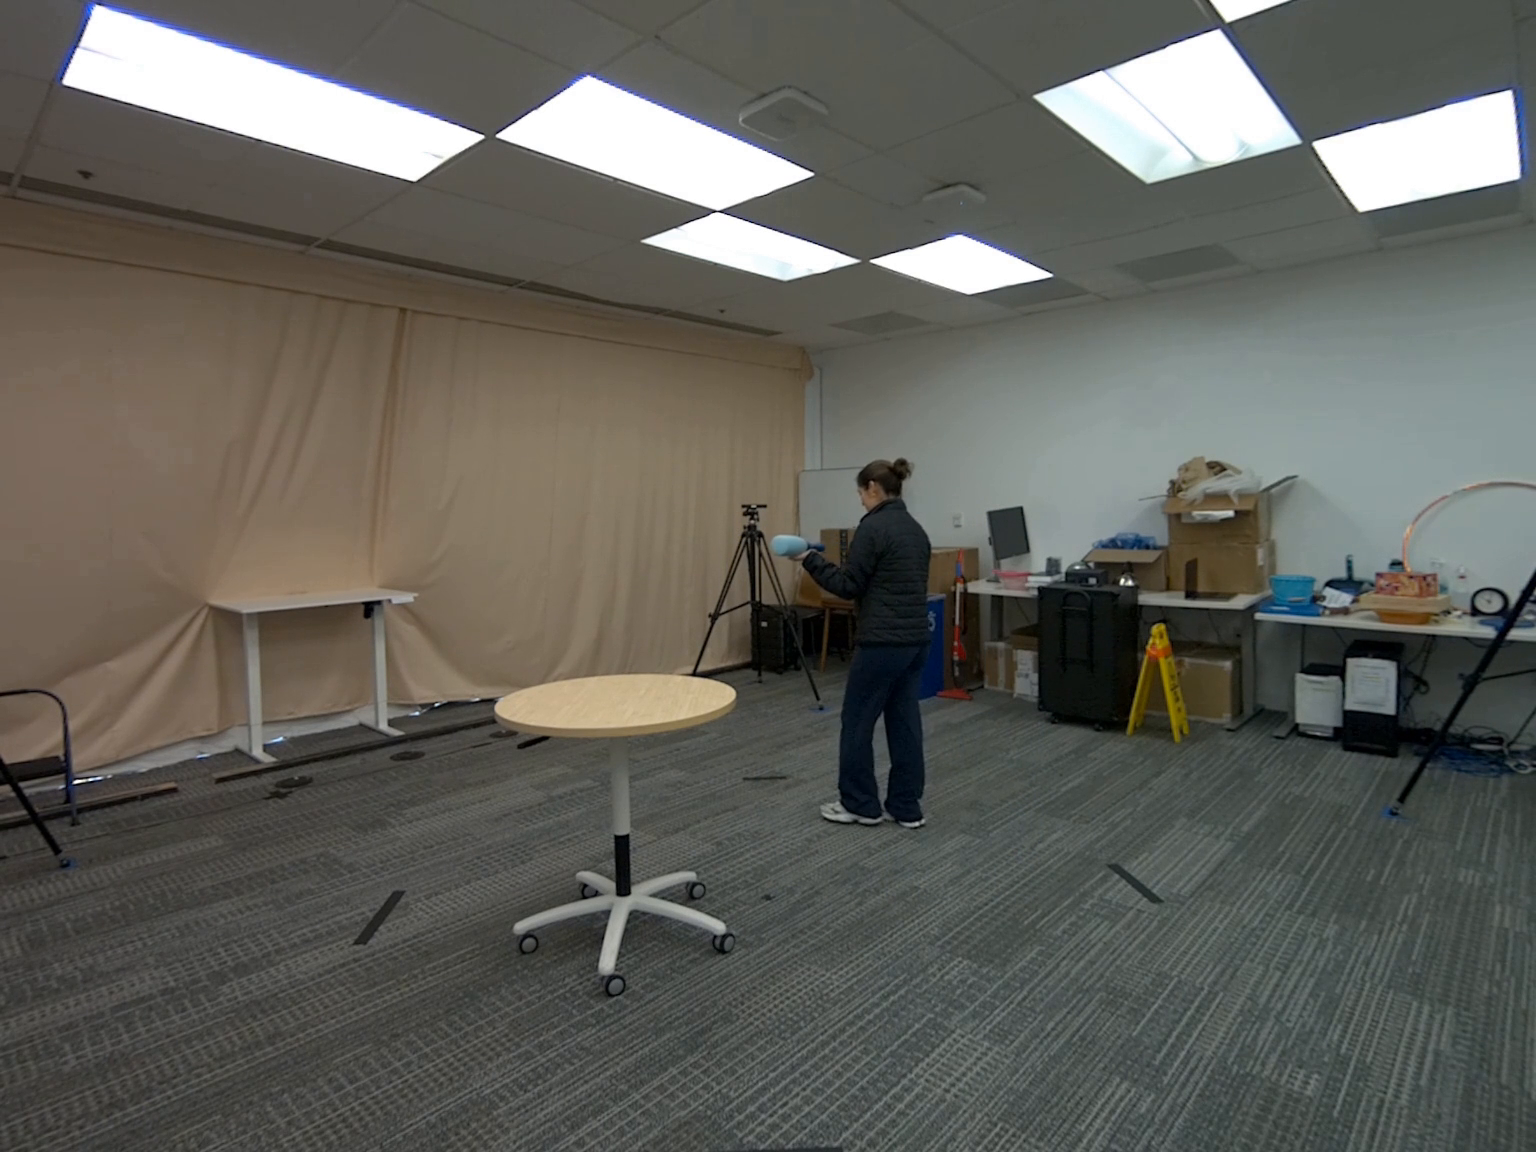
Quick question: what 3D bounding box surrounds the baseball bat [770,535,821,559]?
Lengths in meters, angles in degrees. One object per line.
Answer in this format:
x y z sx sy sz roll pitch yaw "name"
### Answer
0.159 -0.126 3.709 0.091 0.089 0.530 1 1 24 "baseball bat"
